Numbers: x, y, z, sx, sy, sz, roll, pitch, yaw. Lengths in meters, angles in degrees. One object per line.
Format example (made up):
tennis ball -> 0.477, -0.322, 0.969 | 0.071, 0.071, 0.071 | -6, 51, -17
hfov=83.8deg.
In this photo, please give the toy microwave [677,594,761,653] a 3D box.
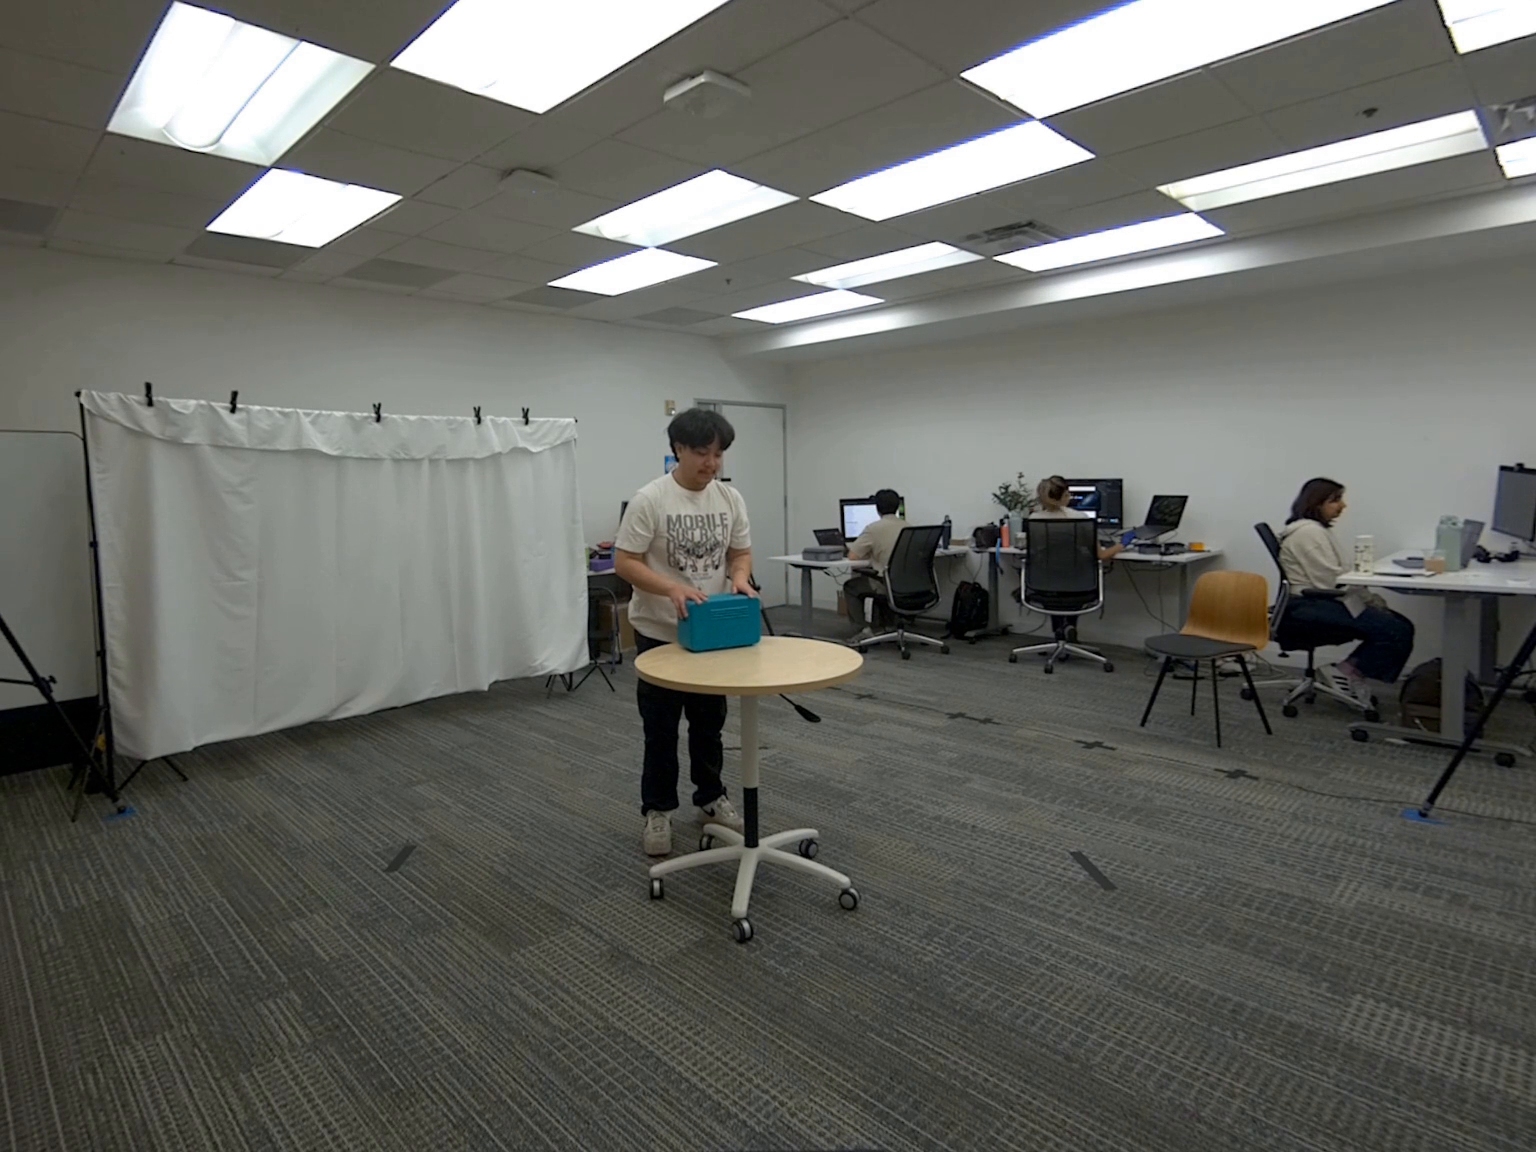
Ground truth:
toy microwave -> -0.180, 0.166, 3.077 | 0.280, 0.183, 0.156 | -4, 6, -28
